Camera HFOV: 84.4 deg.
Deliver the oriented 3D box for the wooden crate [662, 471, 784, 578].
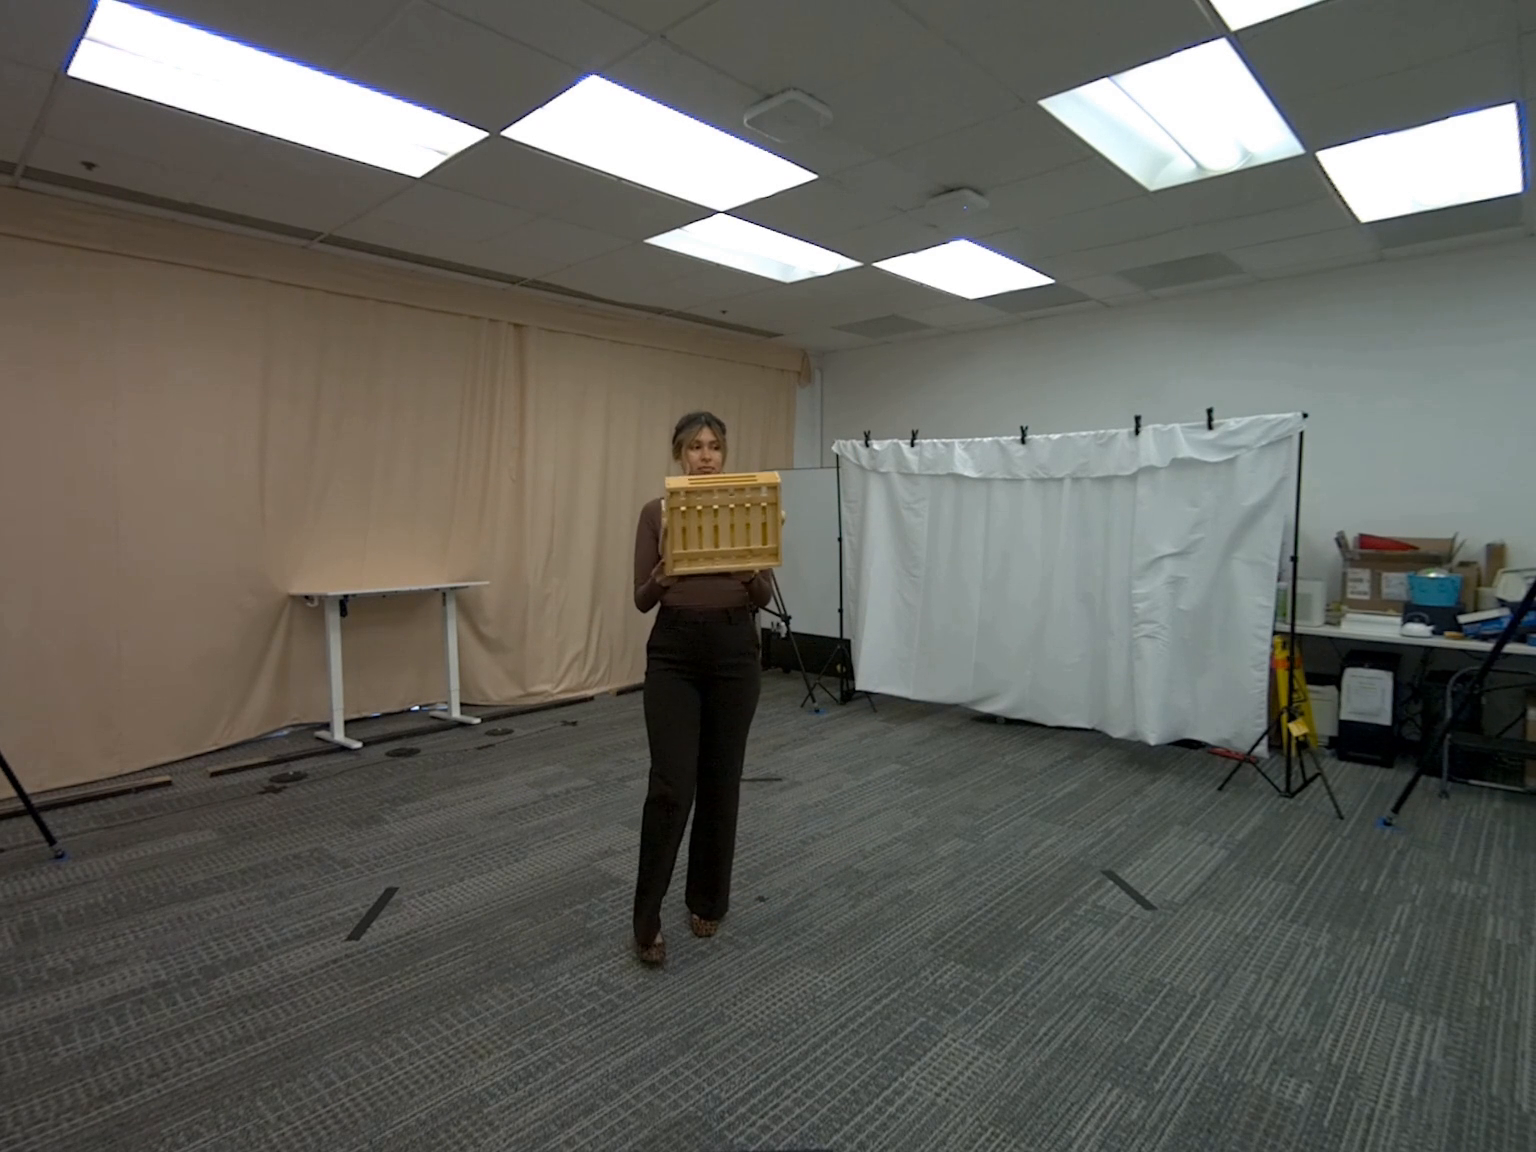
[{"bbox_3d":[-0.138,-0.148,2.339,0.322,0.299,0.278,-3,14,-7],"label":"wooden crate"}]
